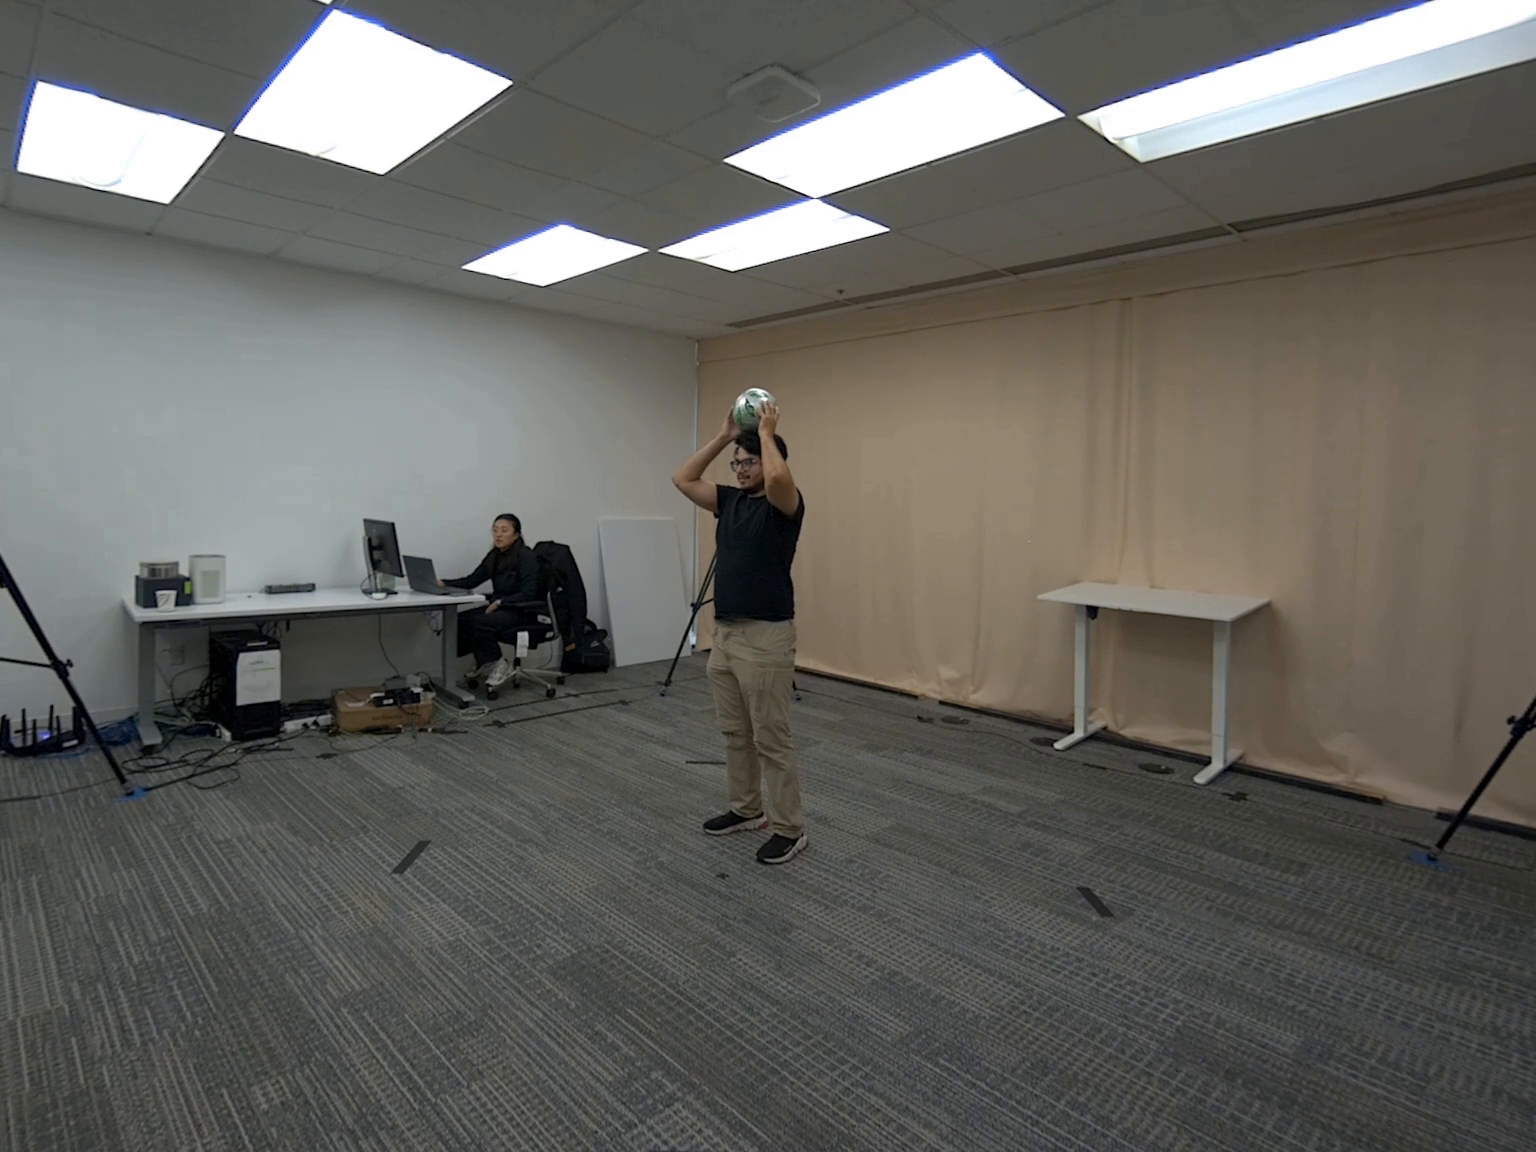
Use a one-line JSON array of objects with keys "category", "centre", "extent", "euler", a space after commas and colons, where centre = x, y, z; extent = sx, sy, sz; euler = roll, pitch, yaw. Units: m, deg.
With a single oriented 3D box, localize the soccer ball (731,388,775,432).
[{"category": "soccer ball", "centre": [-0.056, -0.655, 3.386], "extent": [0.187, 0.187, 0.188], "euler": [1, 4, -1]}]
